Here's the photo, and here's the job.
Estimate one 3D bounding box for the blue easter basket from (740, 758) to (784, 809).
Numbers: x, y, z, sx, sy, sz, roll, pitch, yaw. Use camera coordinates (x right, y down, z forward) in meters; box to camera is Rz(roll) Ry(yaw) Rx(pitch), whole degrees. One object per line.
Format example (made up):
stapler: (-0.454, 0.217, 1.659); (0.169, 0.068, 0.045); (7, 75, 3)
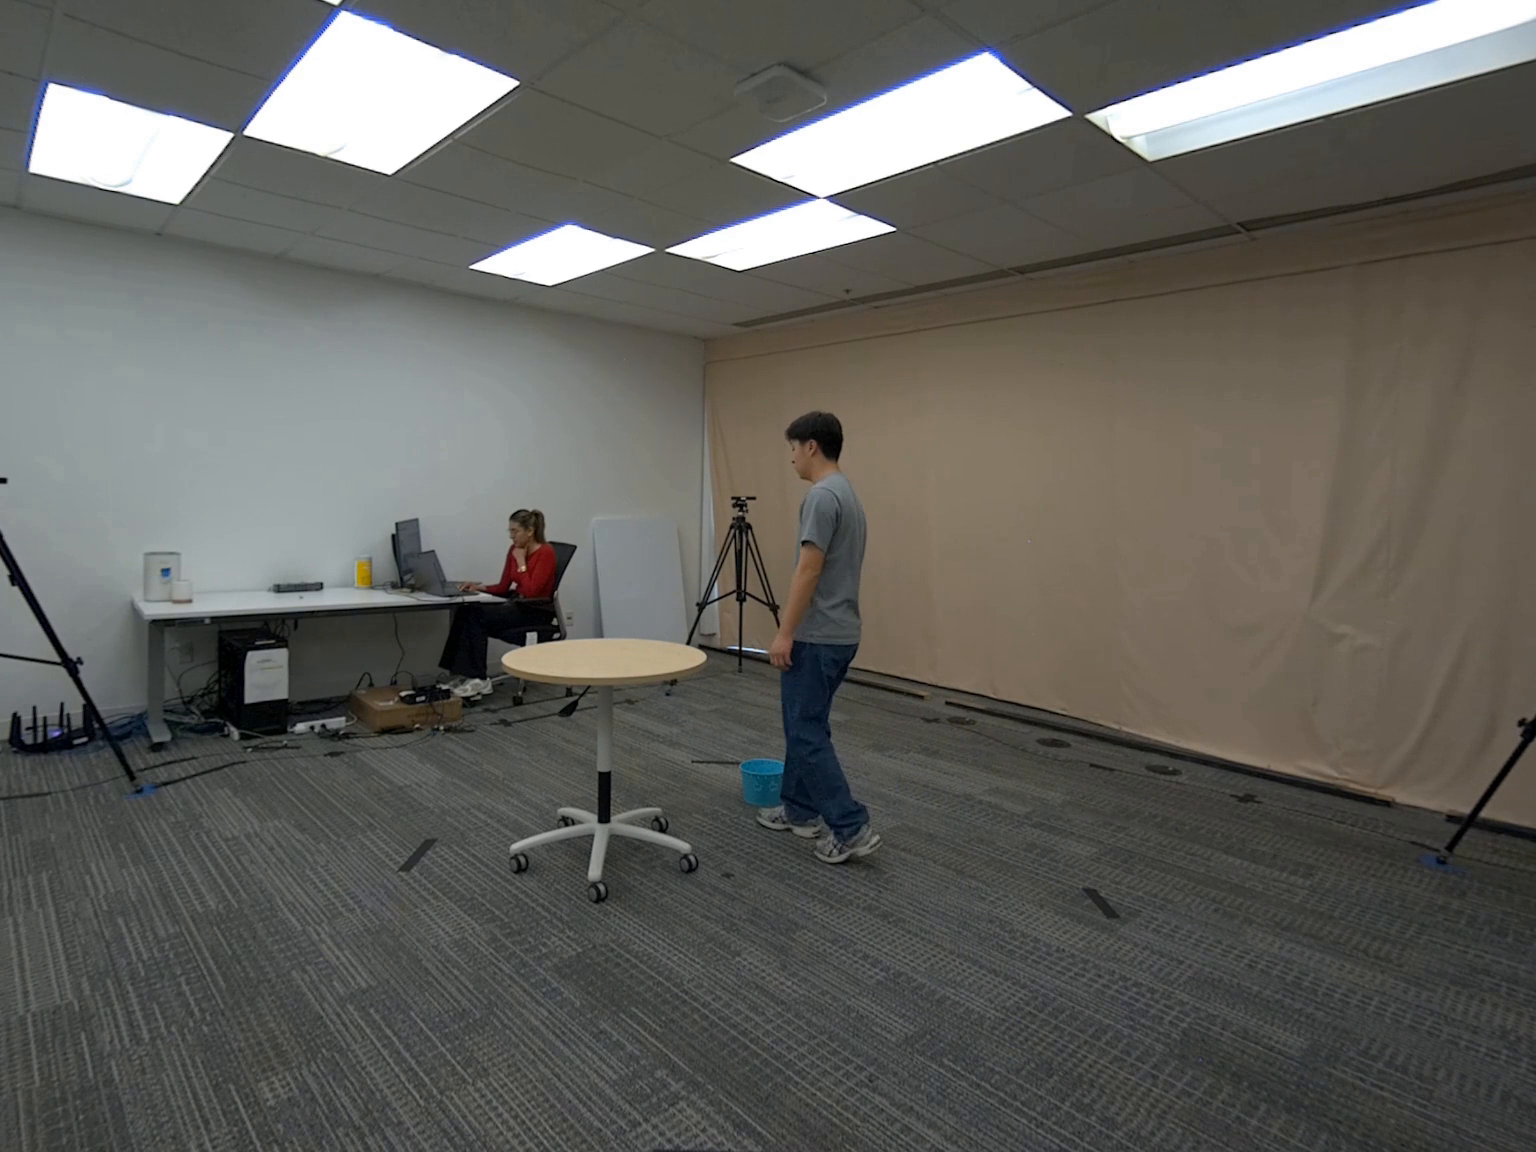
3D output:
blue easter basket: (-0.021, 0.959, 3.917); (0.243, 0.155, 0.244); (2, 4, -1)
